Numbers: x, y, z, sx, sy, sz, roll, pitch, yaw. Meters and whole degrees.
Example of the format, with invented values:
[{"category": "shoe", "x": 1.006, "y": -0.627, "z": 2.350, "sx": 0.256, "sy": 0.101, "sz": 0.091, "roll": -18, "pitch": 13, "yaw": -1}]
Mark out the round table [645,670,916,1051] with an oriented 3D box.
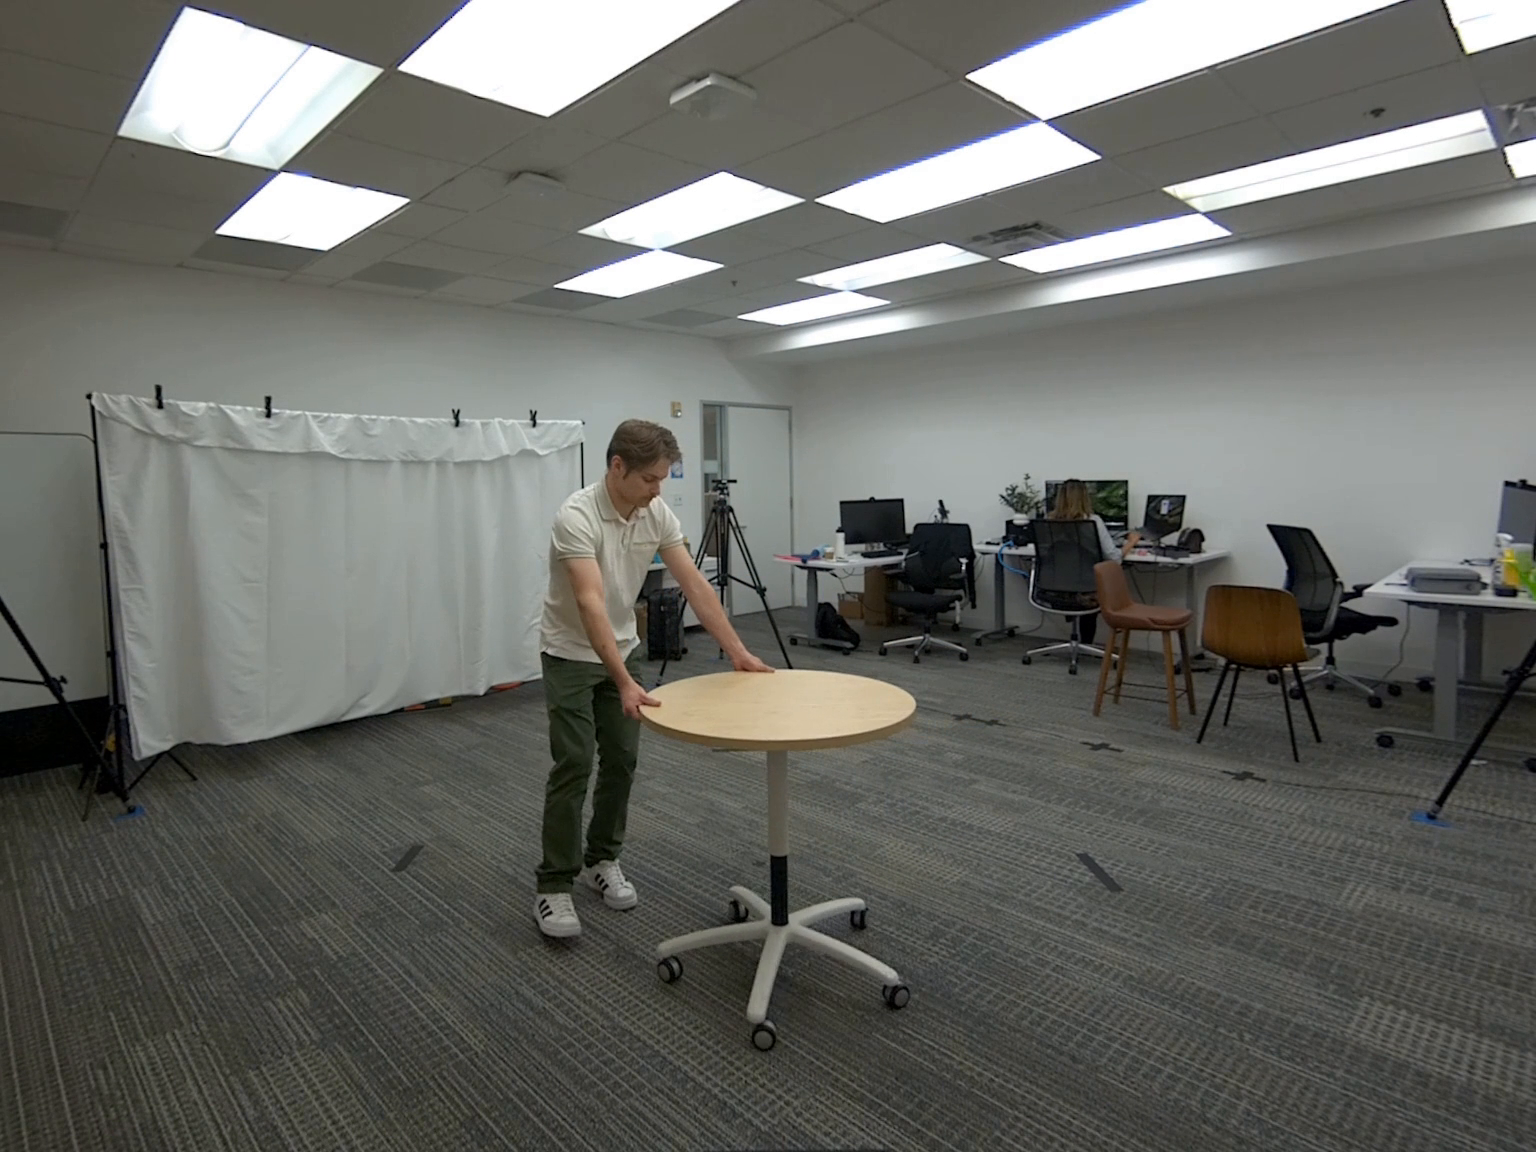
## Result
[{"category": "round table", "x": 0.025, "y": 0.732, "z": 2.417, "sx": 0.784, "sy": 0.783, "sz": 0.789, "roll": -1, "pitch": 5, "yaw": -2}]
